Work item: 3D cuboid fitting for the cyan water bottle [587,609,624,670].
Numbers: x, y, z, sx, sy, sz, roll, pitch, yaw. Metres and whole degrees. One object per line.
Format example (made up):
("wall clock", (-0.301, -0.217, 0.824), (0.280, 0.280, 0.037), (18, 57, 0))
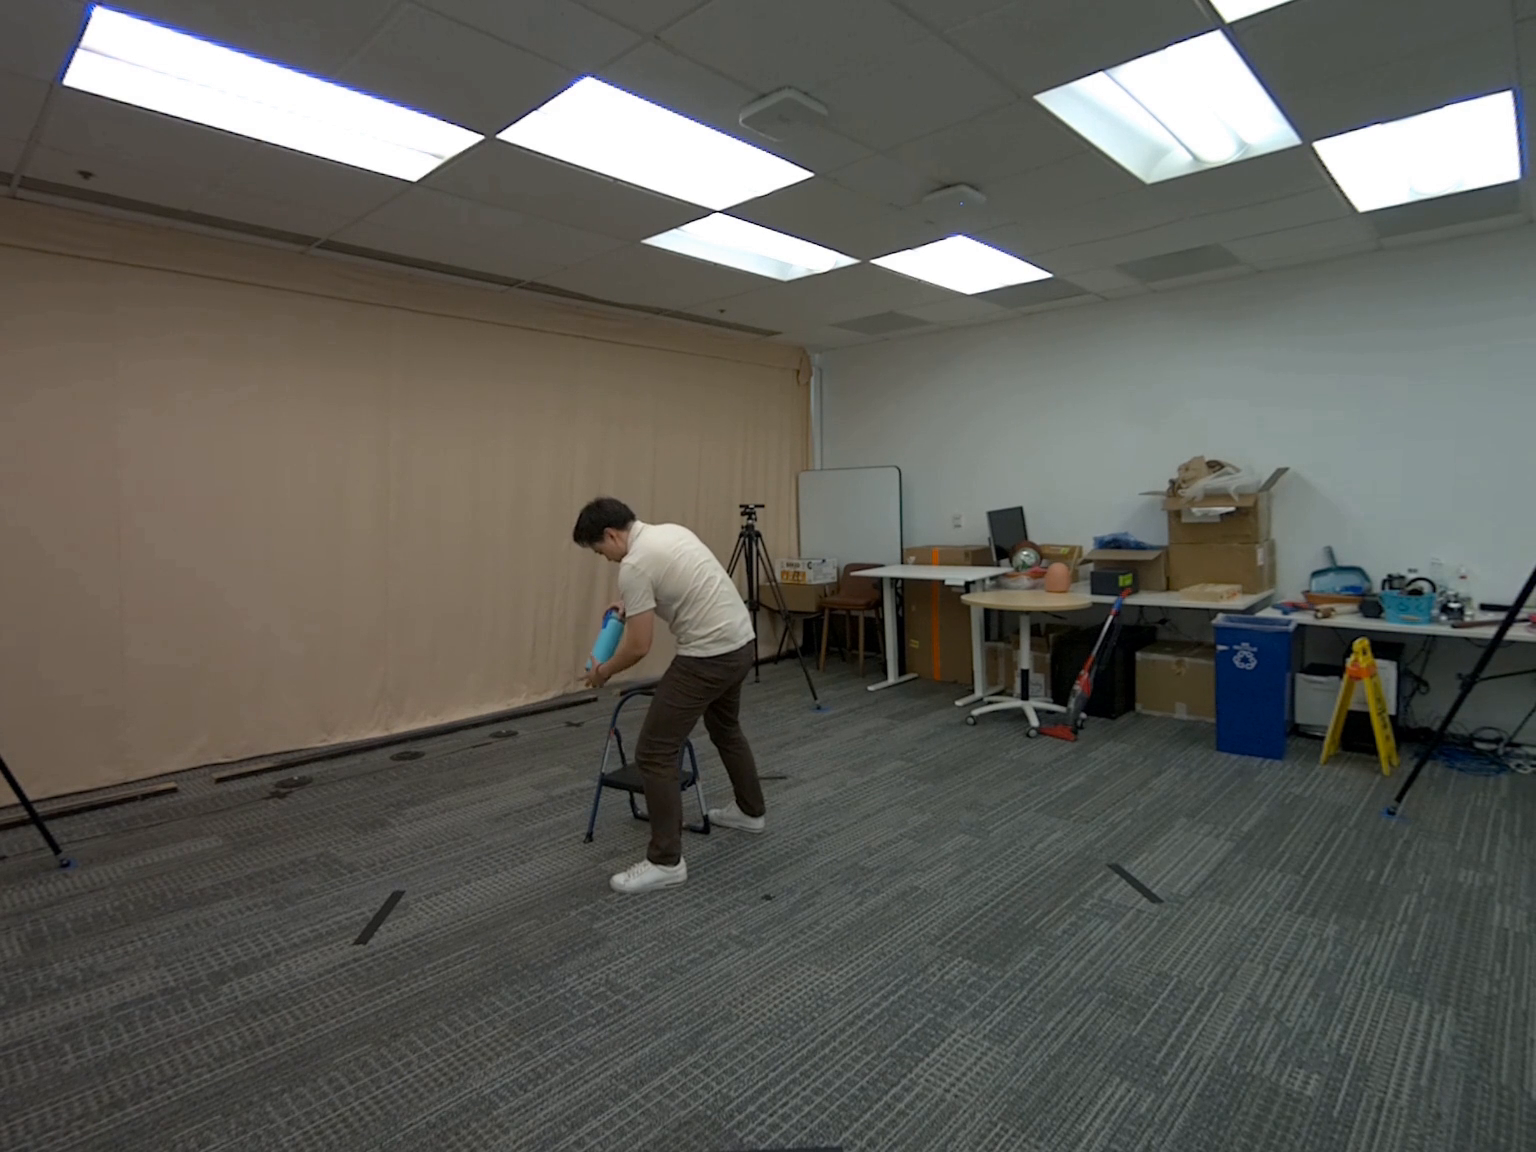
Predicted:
("cyan water bottle", (-0.654, 0.289, 3.443), (0.093, 0.285, 0.091), (15, -19, 3))
